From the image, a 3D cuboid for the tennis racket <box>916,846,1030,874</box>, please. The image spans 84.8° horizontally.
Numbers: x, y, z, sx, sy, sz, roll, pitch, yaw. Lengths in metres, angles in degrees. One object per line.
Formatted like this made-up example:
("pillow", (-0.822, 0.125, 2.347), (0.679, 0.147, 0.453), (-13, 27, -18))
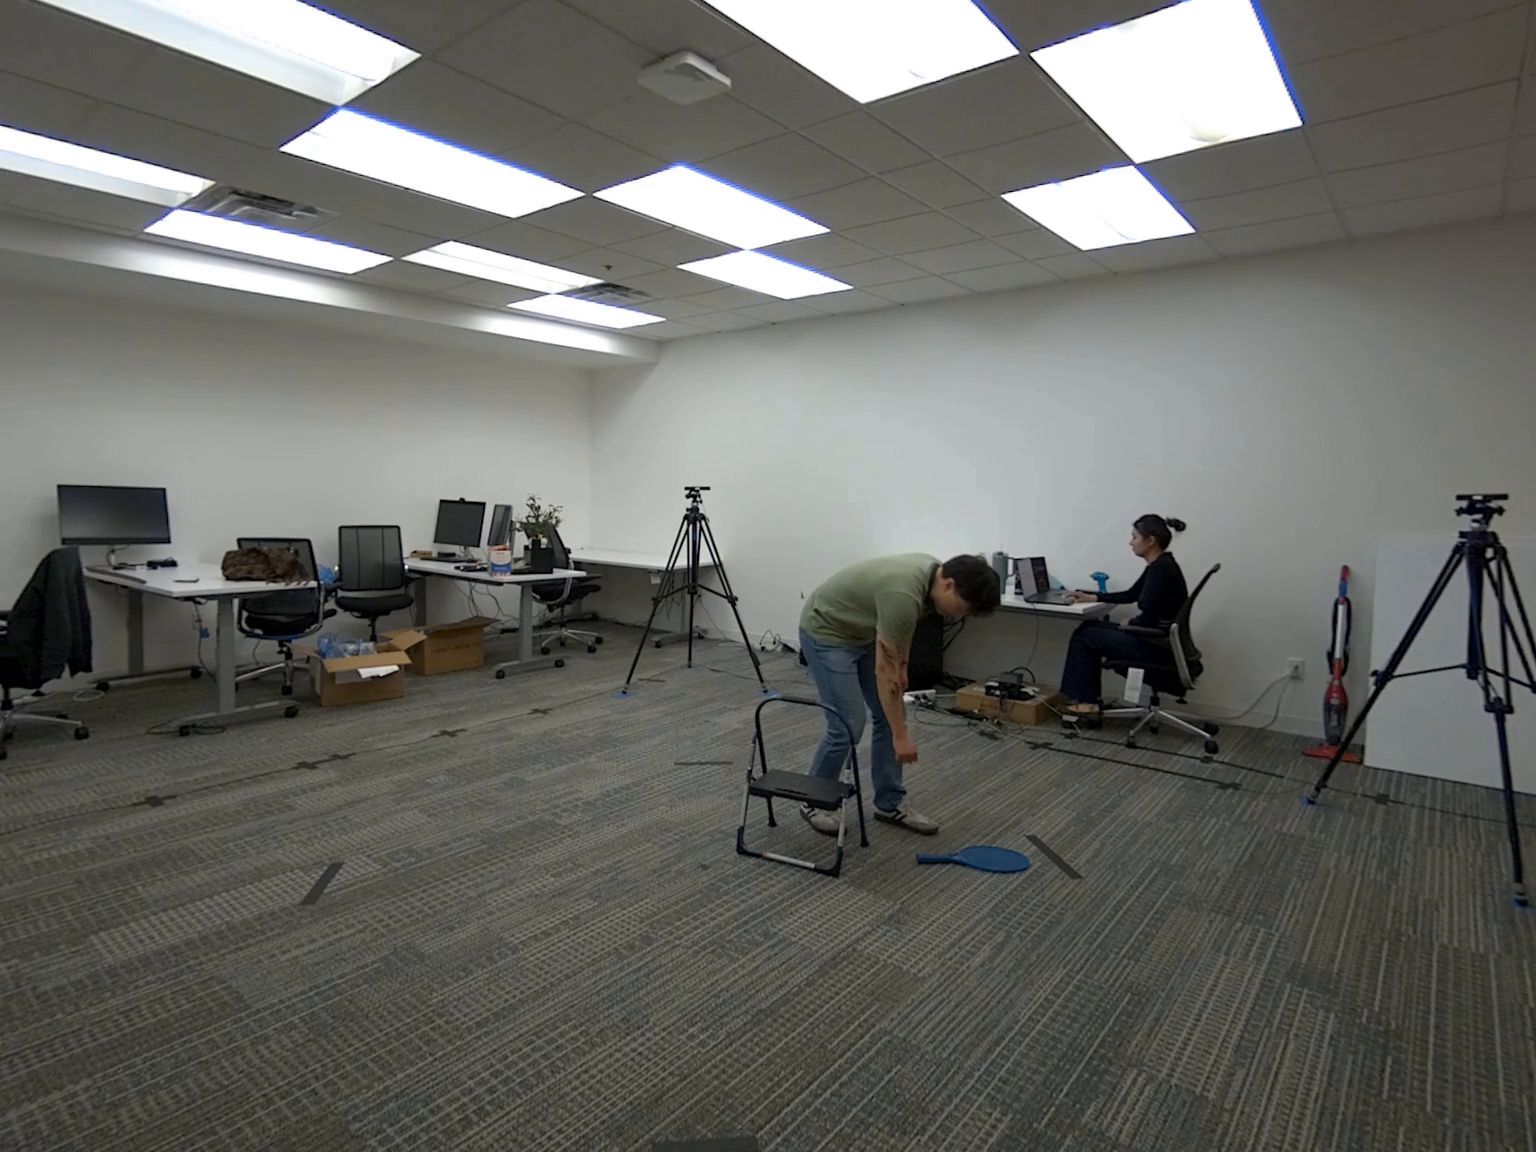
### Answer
("tennis racket", (0.769, 1.066, 3.212), (0.430, 0.031, 0.216), (2, 5, -5))
